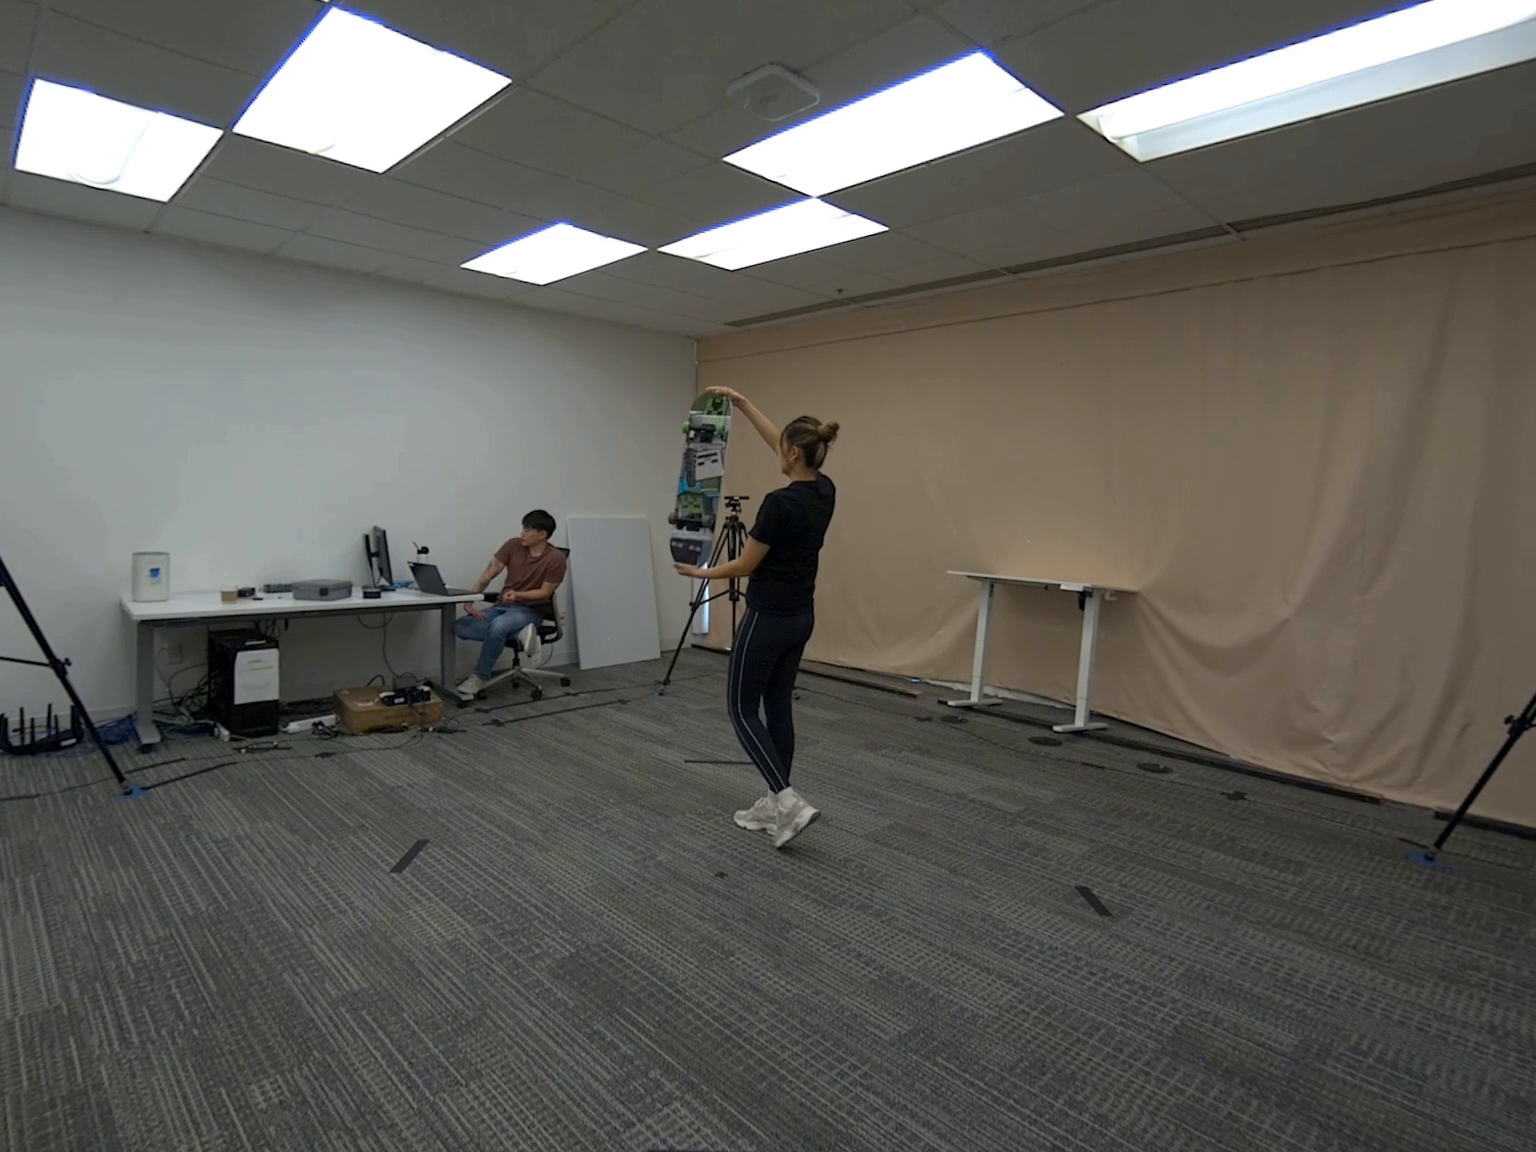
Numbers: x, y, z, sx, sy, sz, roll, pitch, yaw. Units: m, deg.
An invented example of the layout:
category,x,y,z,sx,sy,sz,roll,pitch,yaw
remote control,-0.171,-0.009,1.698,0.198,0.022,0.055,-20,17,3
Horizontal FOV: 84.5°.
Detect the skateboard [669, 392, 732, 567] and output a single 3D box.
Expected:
category,x,y,z,sx,sy,sz,roll,pitch,yaw
skateboard,-0.295,-0.420,3.559,0.196,0.790,0.108,4,-9,19
